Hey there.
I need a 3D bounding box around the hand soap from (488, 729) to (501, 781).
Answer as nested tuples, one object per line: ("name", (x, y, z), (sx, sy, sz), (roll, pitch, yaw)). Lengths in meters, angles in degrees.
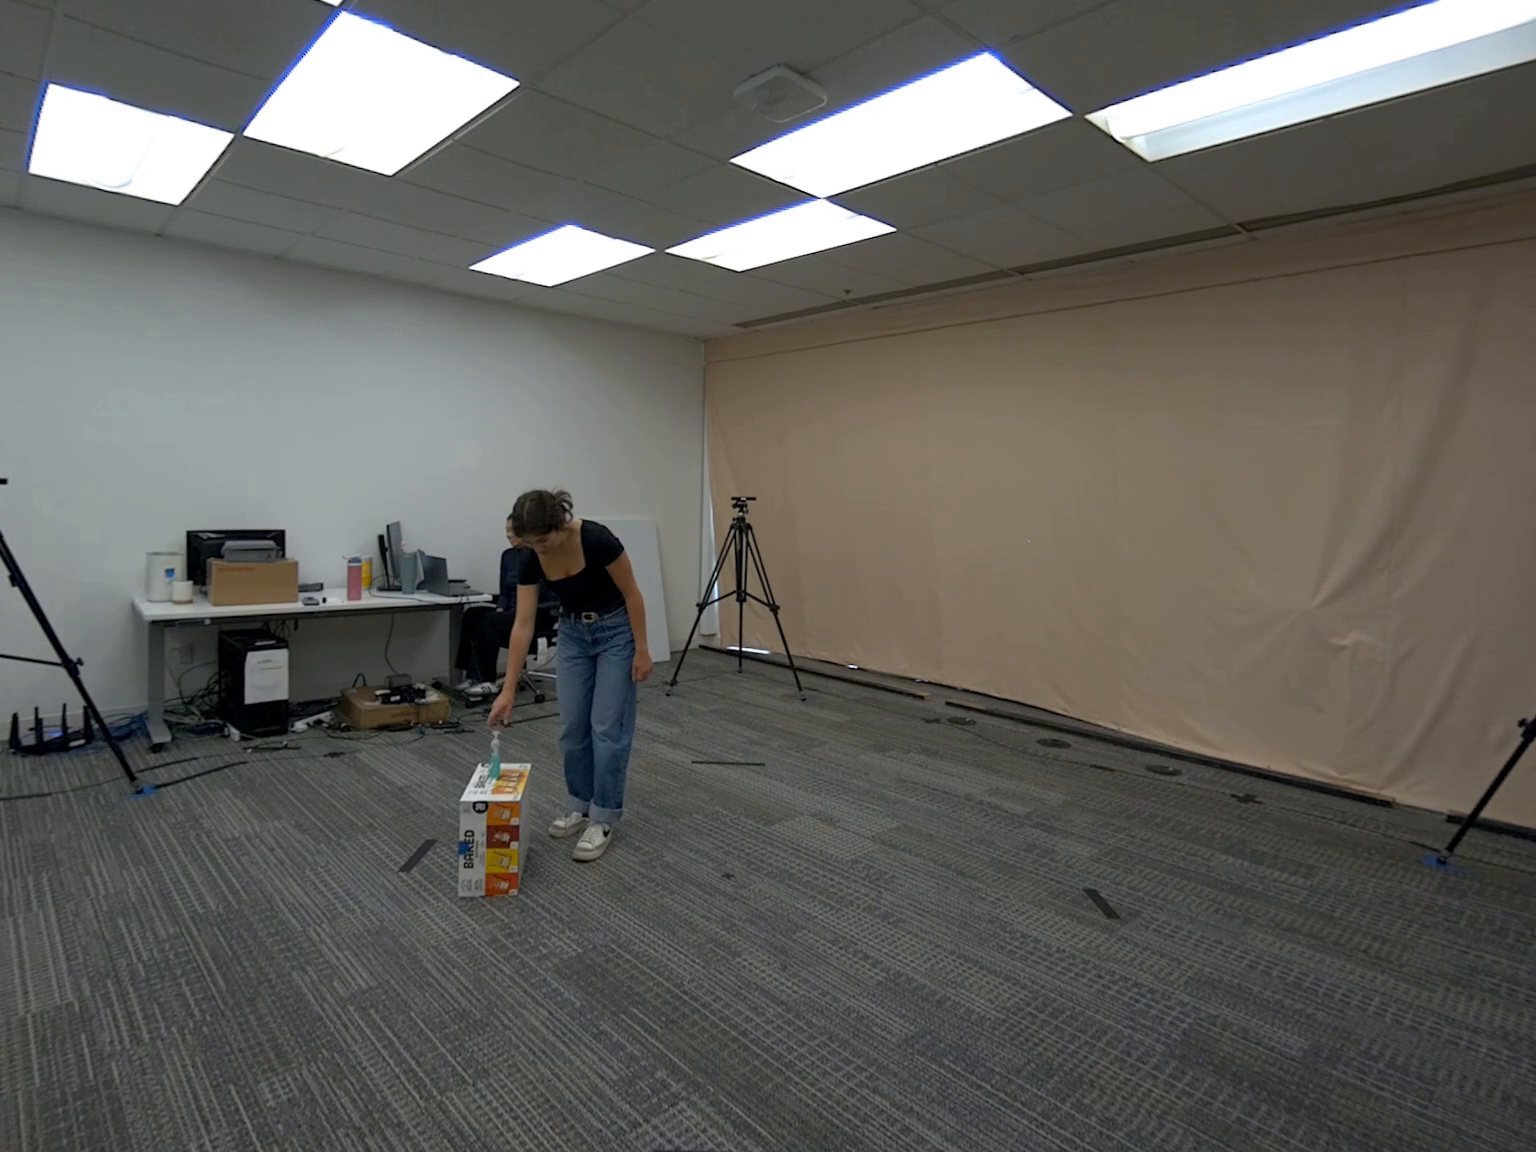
("hand soap", (-1.027, 0.665, 3.134), (0.042, 0.168, 0.086), (2, 4, -23))
